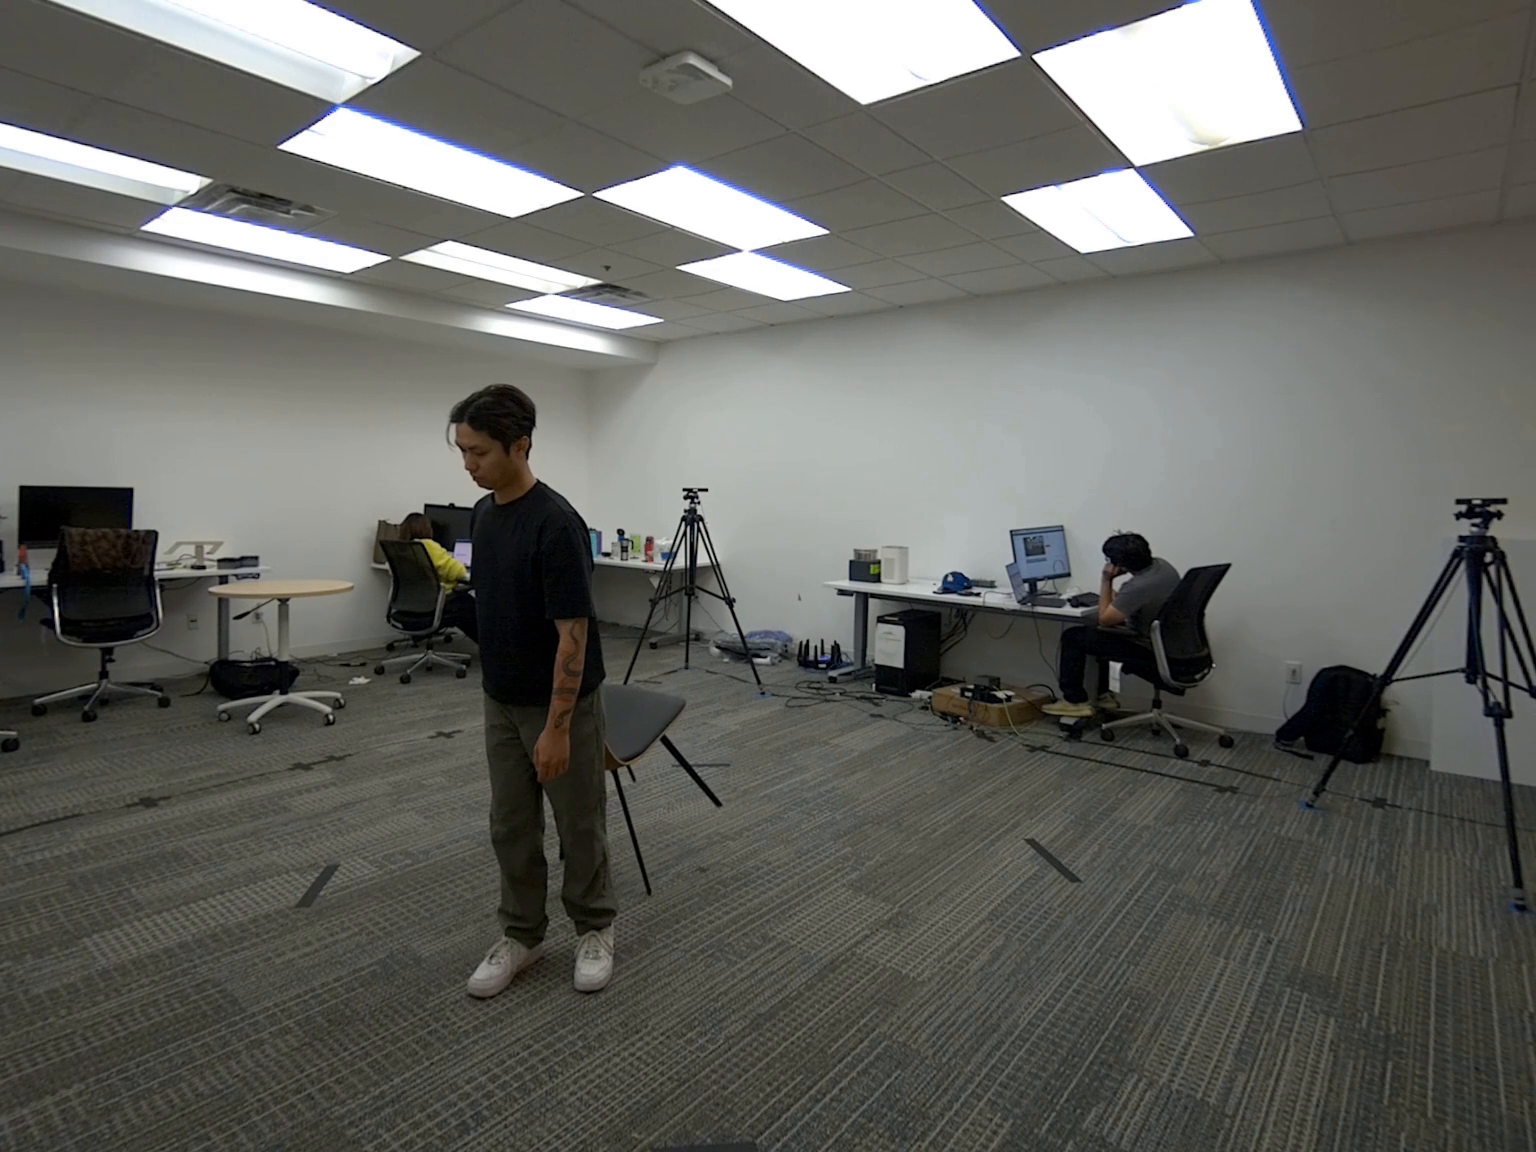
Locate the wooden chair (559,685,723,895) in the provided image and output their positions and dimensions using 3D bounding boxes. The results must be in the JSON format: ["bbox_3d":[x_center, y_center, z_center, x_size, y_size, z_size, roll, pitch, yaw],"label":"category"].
[{"bbox_3d":[-0.573,0.580,3.032,0.493,0.852,0.522,3,33,36],"label":"wooden chair"}]
